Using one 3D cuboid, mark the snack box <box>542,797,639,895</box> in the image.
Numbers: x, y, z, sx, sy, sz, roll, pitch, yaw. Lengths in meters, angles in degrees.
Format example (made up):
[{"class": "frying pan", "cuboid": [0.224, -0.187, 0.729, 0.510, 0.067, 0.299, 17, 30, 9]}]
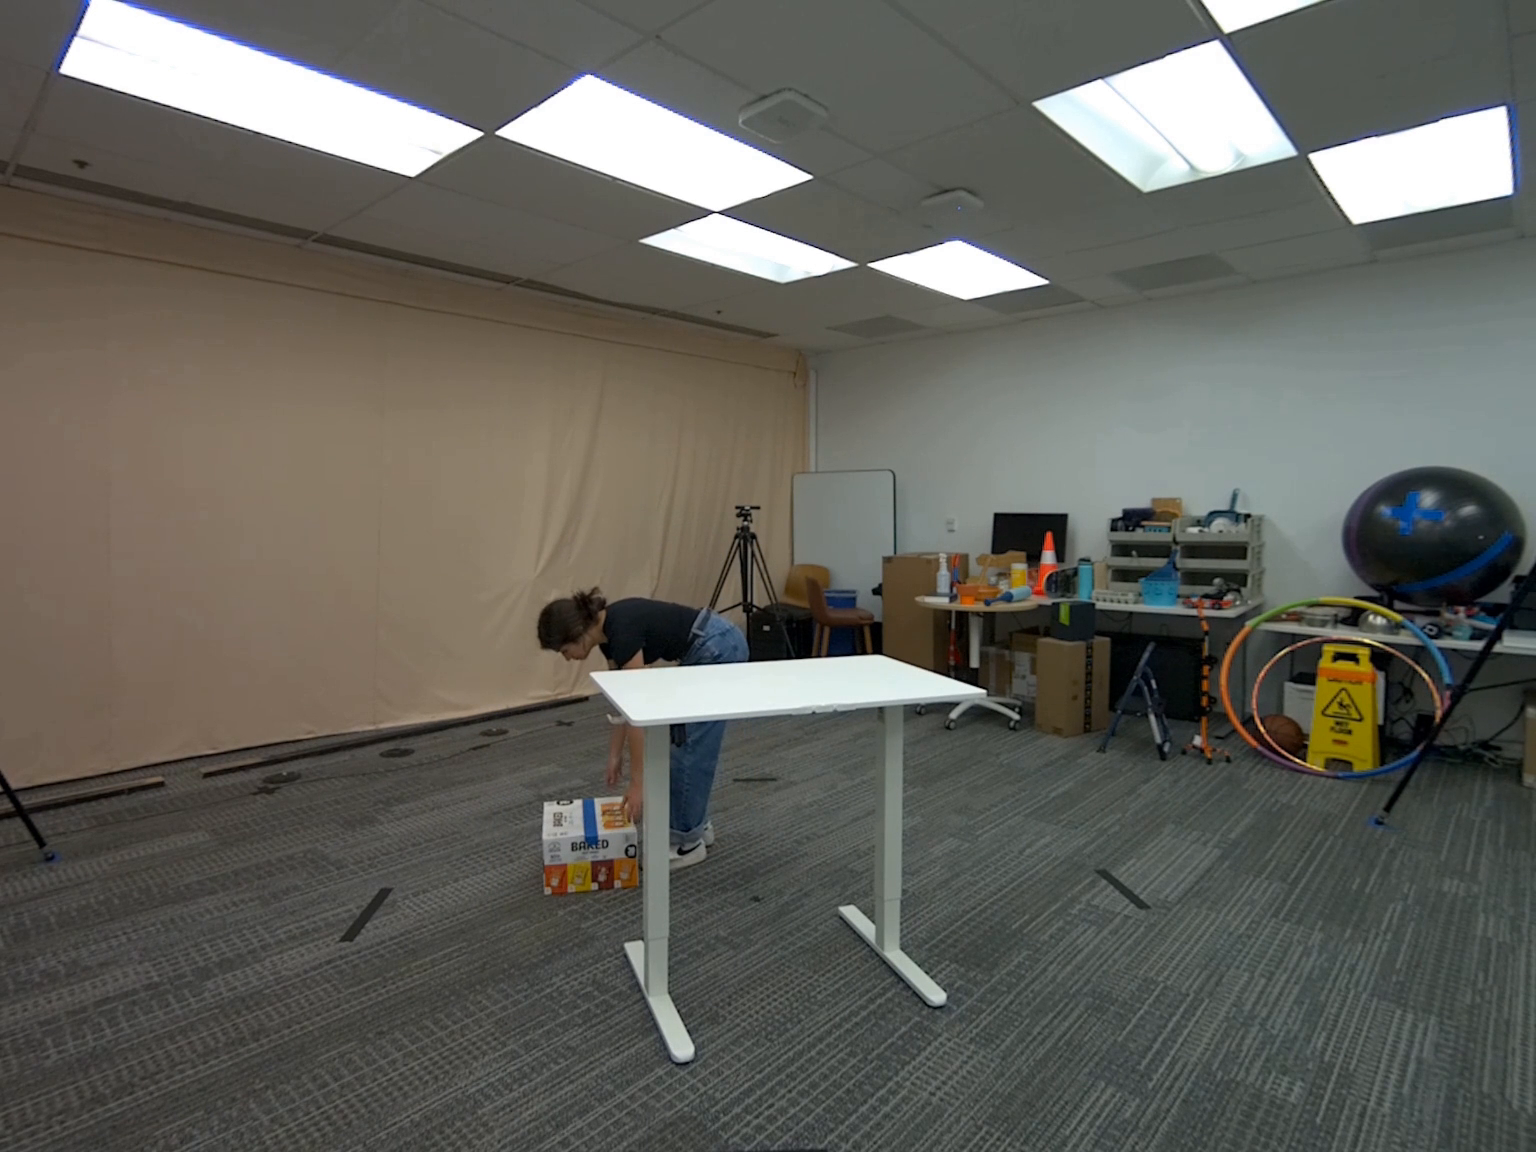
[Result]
[{"class": "snack box", "cuboid": [-0.696, 1.028, 3.243, 0.336, 0.205, 0.411, -1, 4, -13]}]
